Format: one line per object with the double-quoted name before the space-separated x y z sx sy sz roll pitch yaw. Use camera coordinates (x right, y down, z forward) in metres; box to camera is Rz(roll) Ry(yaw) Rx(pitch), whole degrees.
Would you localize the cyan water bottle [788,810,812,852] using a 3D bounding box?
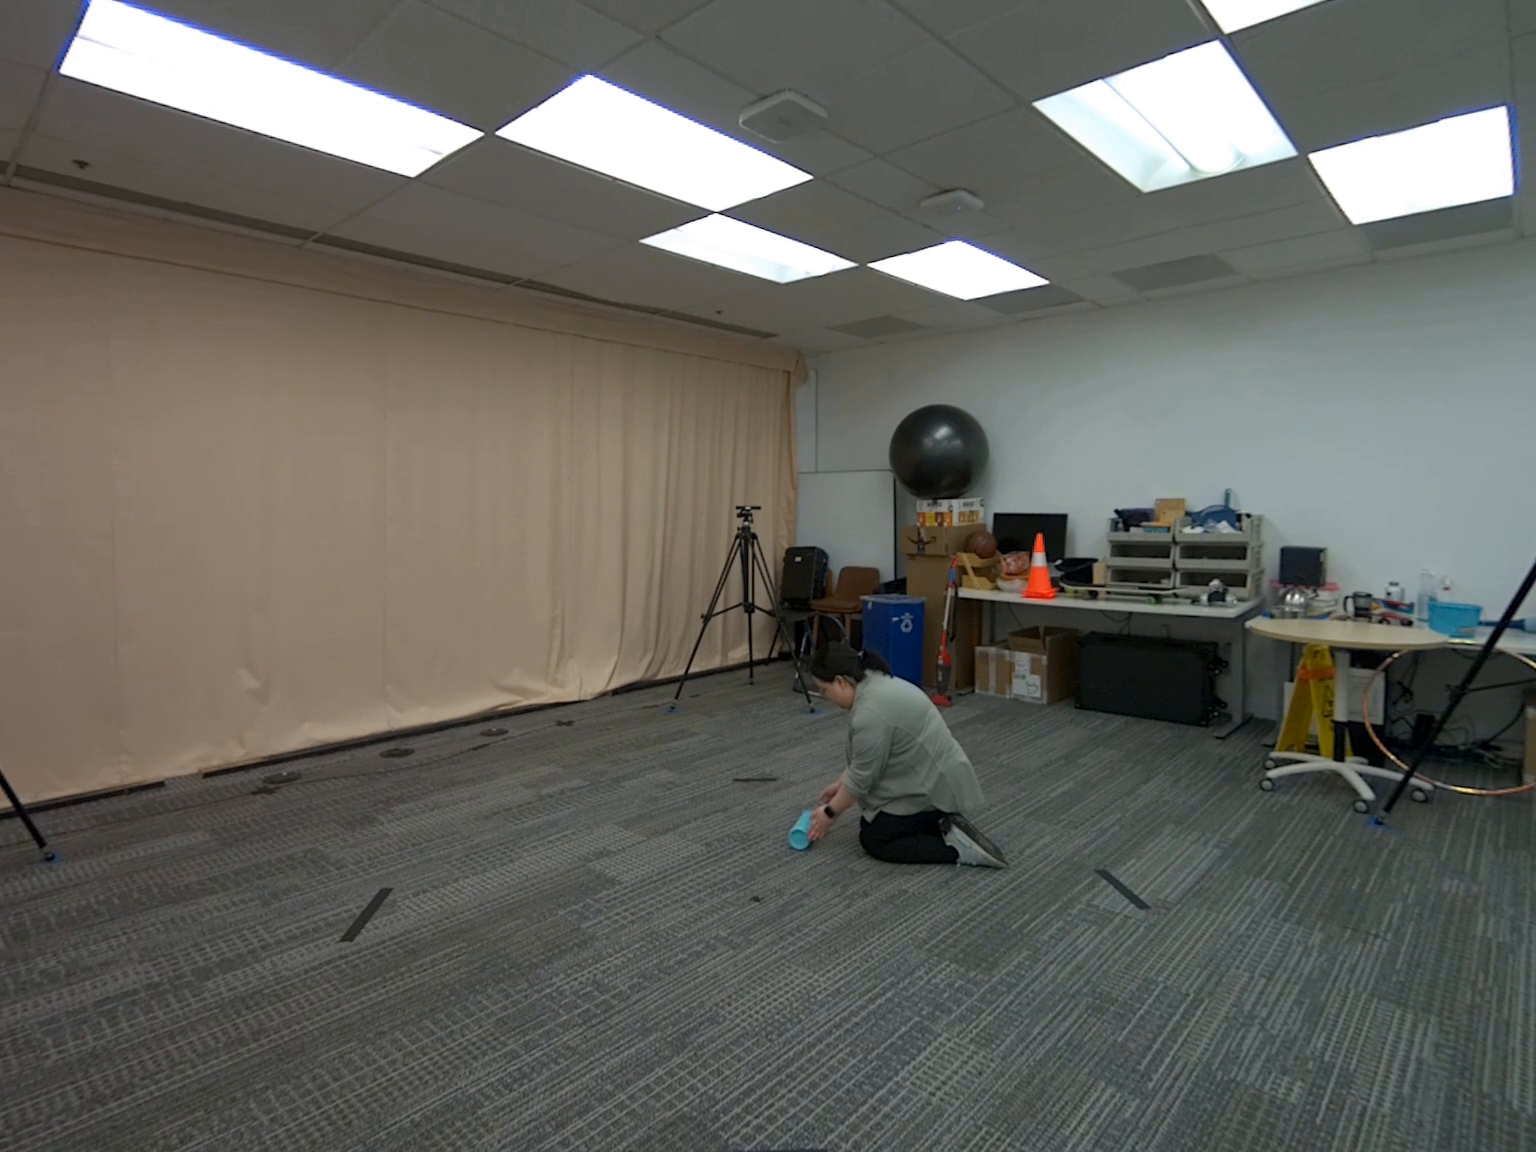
"cyan water bottle" 0.163 1.053 3.533 0.094 0.092 0.279 1 3 14
